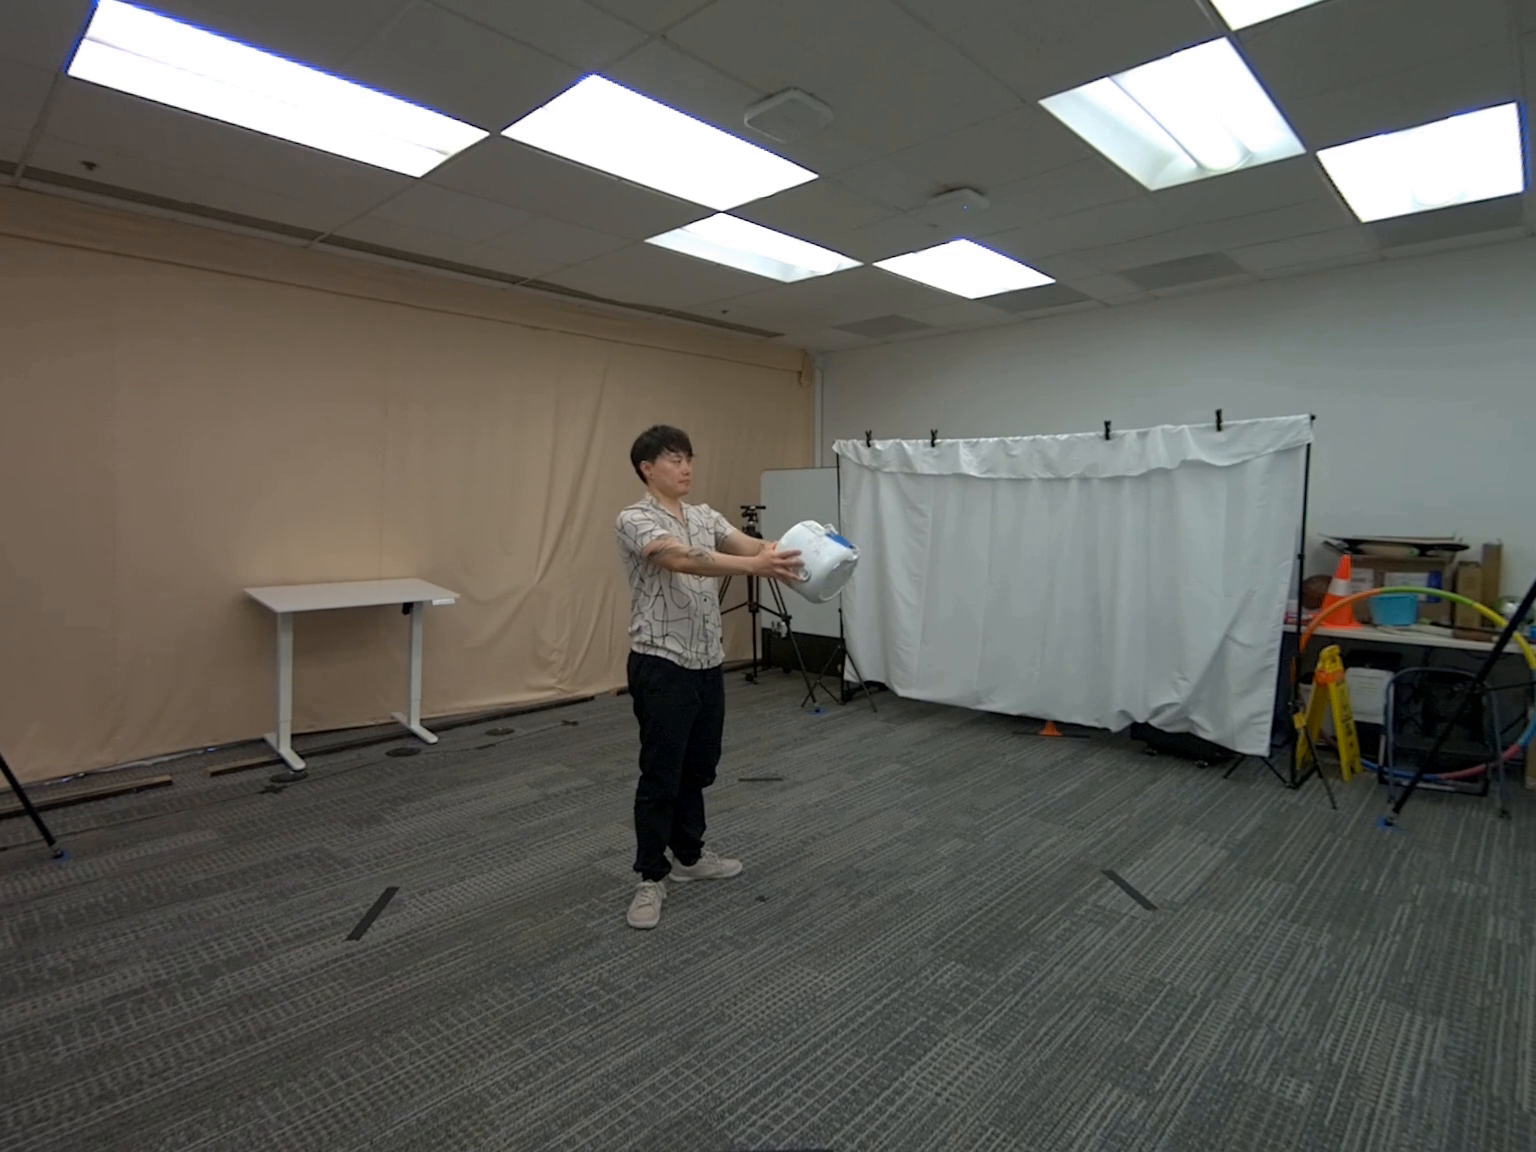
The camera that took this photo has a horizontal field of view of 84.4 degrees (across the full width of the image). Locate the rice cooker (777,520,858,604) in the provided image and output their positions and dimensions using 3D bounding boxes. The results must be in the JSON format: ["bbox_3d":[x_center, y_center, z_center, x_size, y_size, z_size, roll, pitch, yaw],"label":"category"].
[{"bbox_3d":[0.132,-0.048,2.661,0.240,0.220,0.211,39,26,29],"label":"rice cooker"}]
